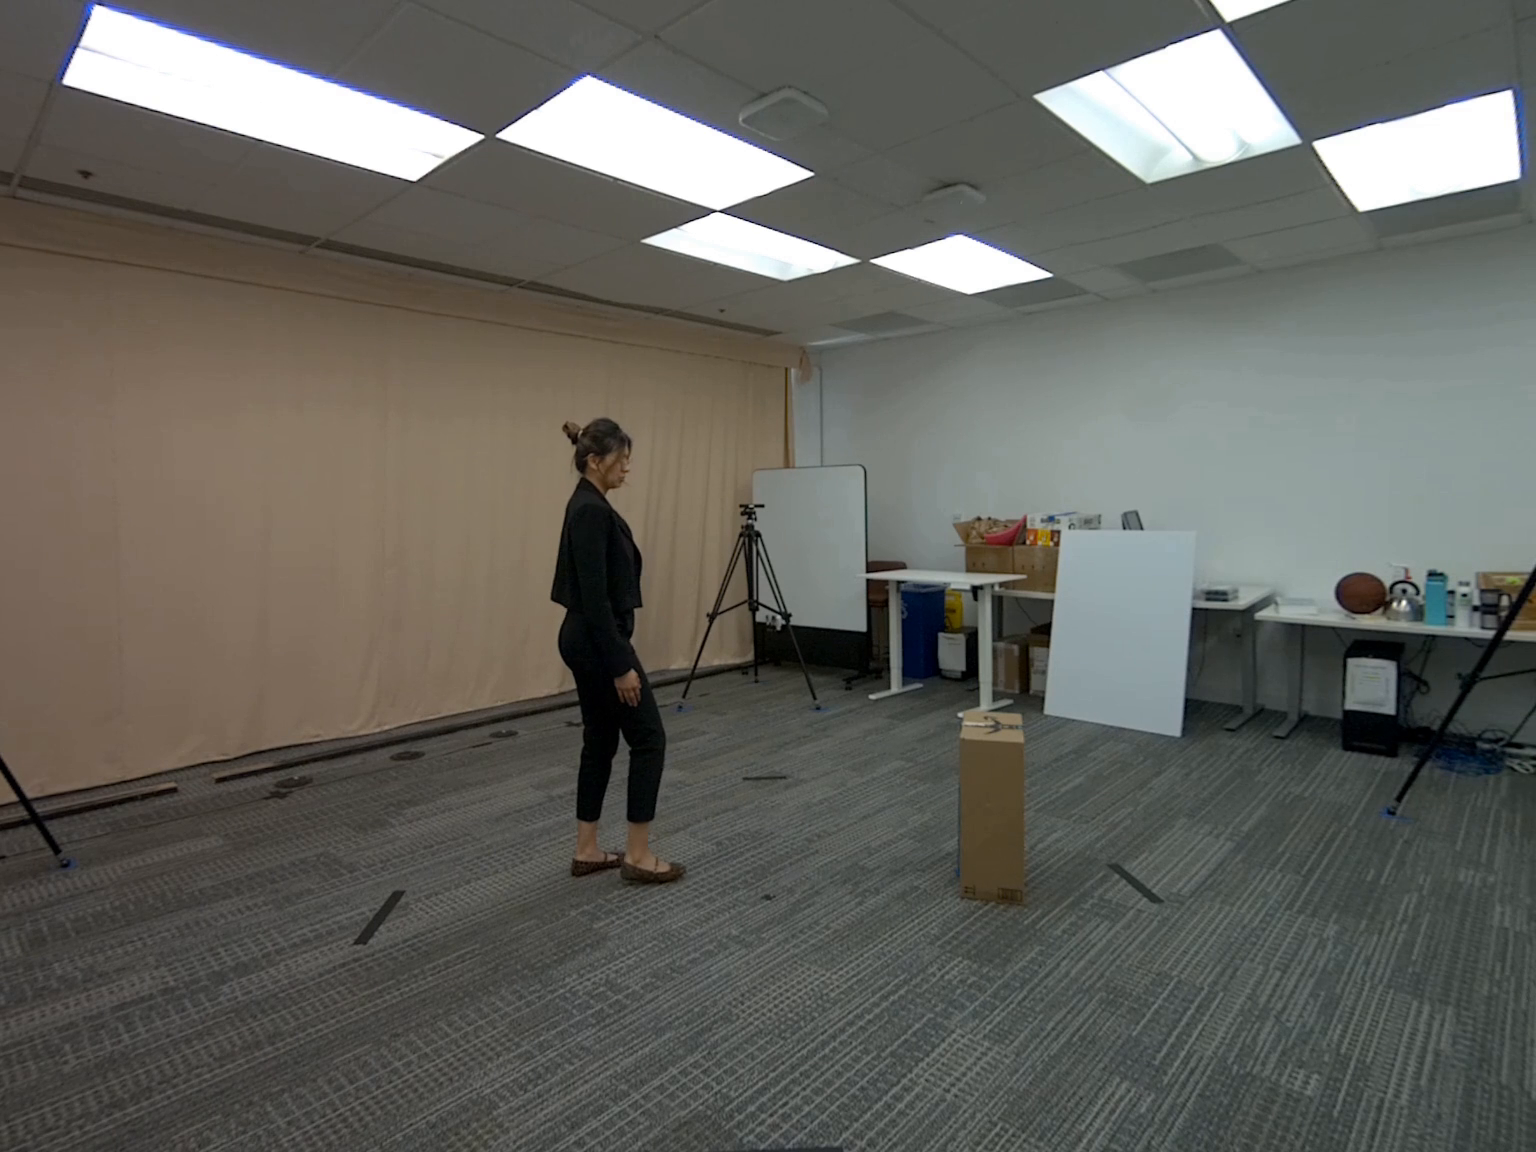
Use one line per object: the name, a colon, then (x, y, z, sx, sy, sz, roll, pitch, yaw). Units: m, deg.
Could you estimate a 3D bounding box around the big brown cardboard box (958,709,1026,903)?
big brown cardboard box: (0.830, 0.838, 3.105, 0.237, 0.588, 0.411, 1, 2, 15)
